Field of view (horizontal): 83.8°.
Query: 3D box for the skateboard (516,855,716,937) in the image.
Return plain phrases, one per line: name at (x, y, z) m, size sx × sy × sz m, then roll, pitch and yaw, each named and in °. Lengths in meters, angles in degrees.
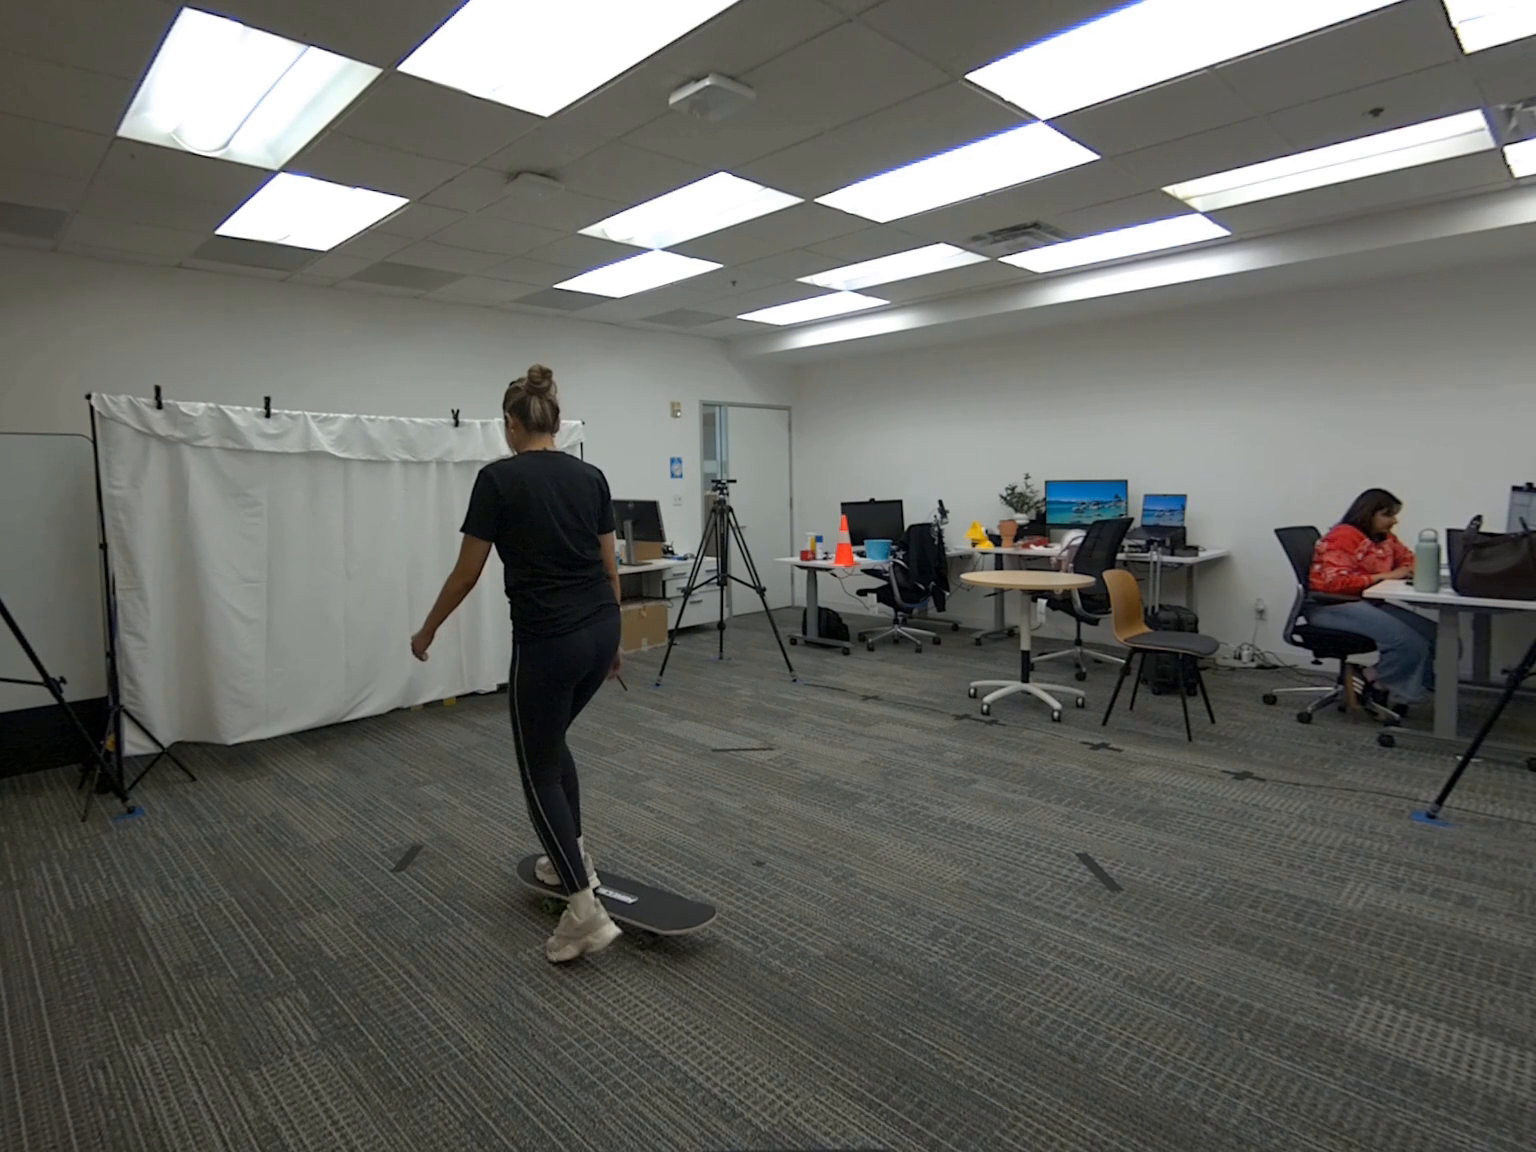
skateboard at (-0.486, 1.048, 2.727) m, size 0.807 × 0.110 × 0.189 m, roll 3°, pitch 9°, yaw 33°
